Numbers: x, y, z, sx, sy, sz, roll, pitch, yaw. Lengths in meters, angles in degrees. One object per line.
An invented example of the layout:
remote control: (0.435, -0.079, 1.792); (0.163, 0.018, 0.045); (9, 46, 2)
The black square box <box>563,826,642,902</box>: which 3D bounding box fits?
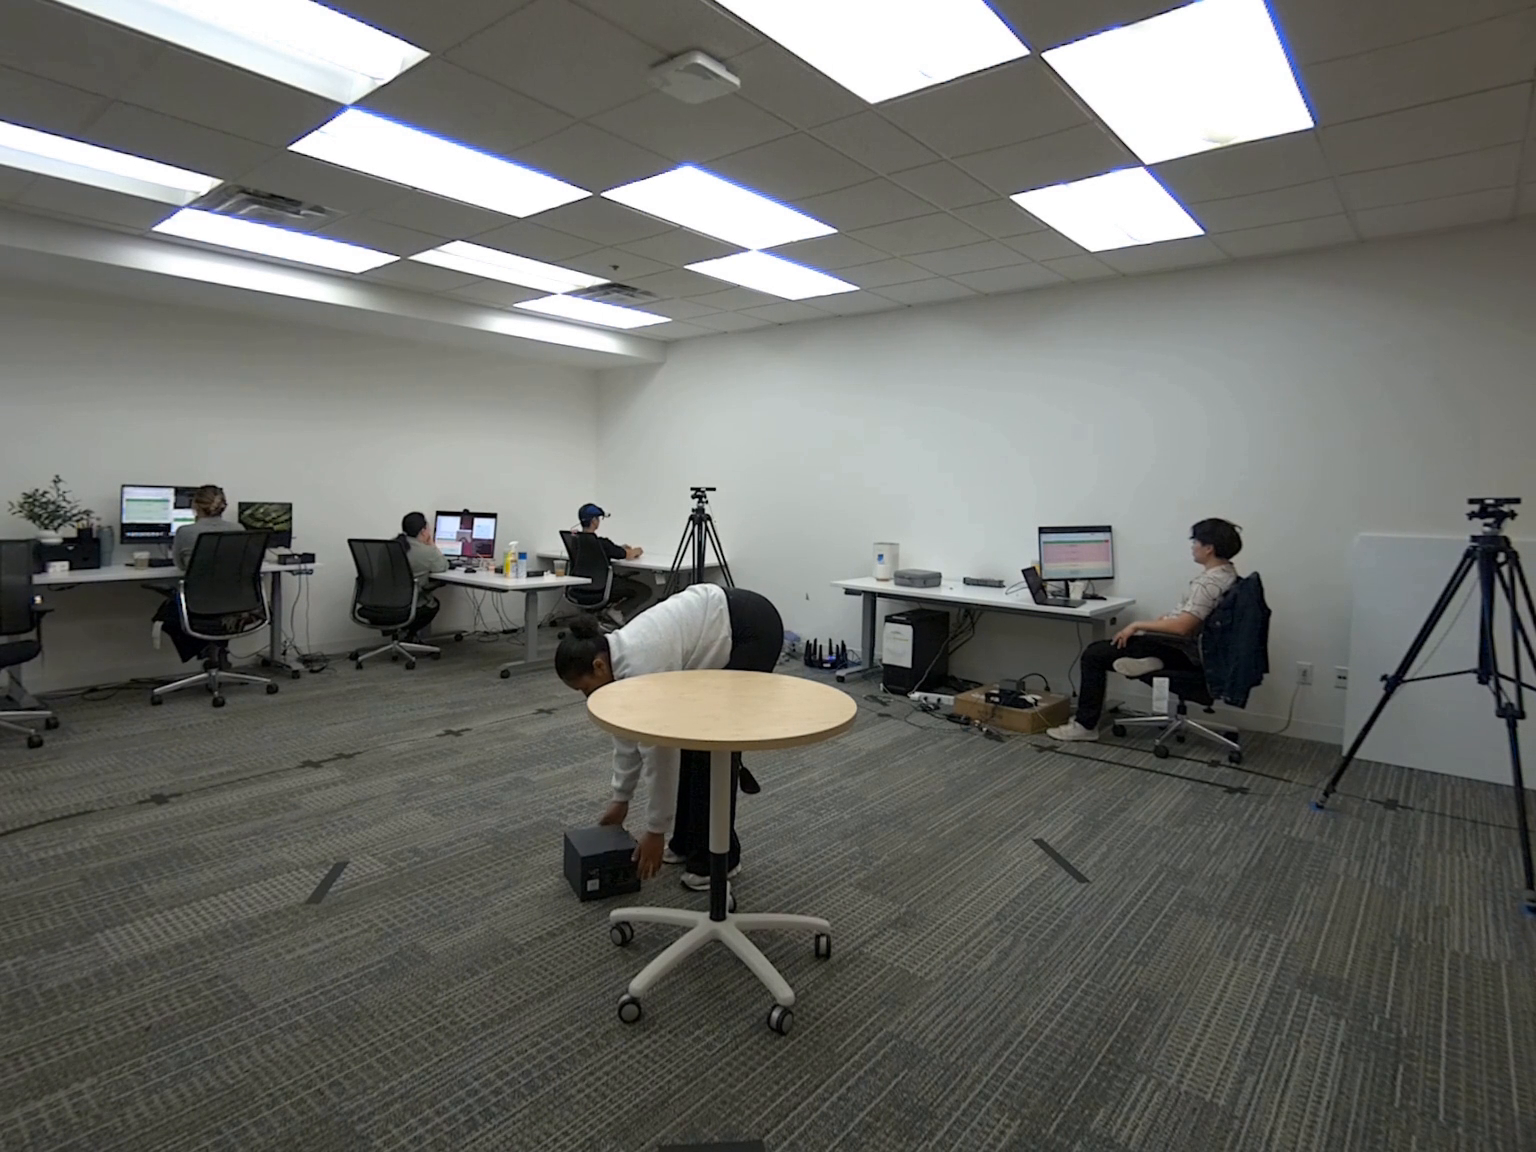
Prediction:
black square box: (-0.592, 0.987, 2.976); (0.212, 0.155, 0.234); (-1, 4, -27)
